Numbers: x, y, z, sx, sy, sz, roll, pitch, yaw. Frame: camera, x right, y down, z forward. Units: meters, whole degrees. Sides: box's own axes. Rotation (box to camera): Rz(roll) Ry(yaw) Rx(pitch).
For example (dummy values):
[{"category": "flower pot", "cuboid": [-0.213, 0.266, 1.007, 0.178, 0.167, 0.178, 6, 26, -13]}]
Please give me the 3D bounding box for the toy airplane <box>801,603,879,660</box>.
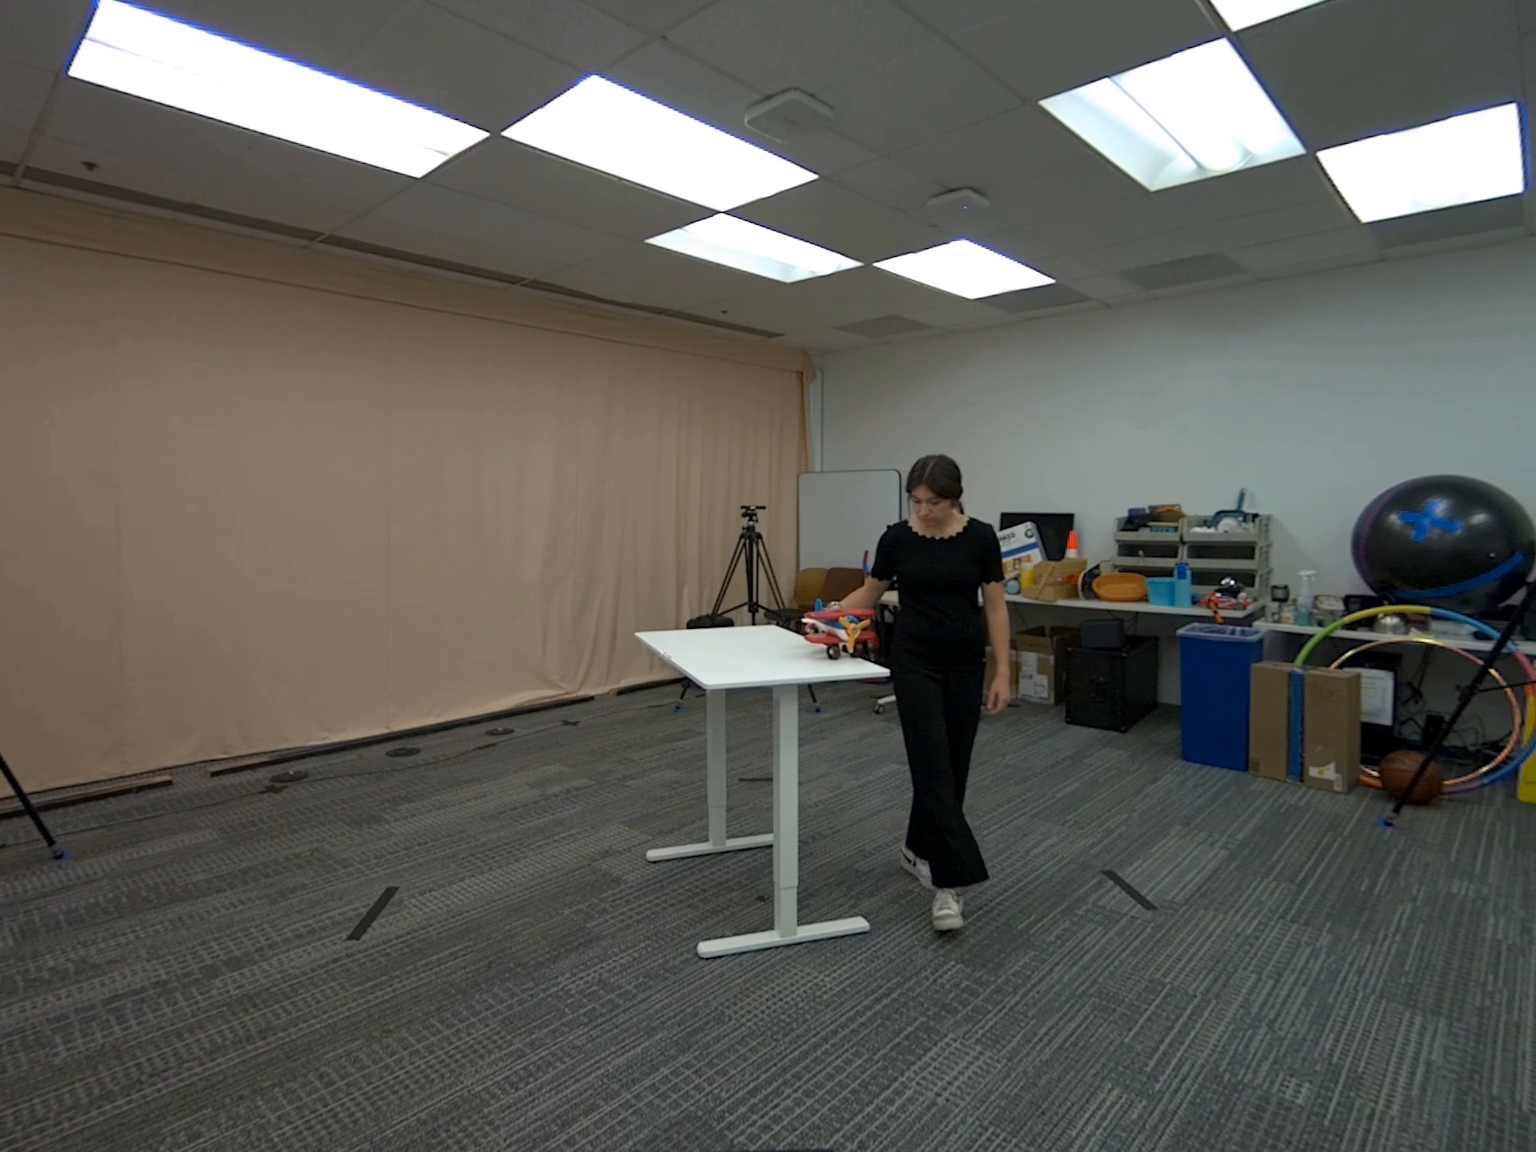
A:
[{"category": "toy airplane", "cuboid": [0.210, 0.173, 2.859, 0.268, 0.155, 0.245, 20, 22, 34]}]
